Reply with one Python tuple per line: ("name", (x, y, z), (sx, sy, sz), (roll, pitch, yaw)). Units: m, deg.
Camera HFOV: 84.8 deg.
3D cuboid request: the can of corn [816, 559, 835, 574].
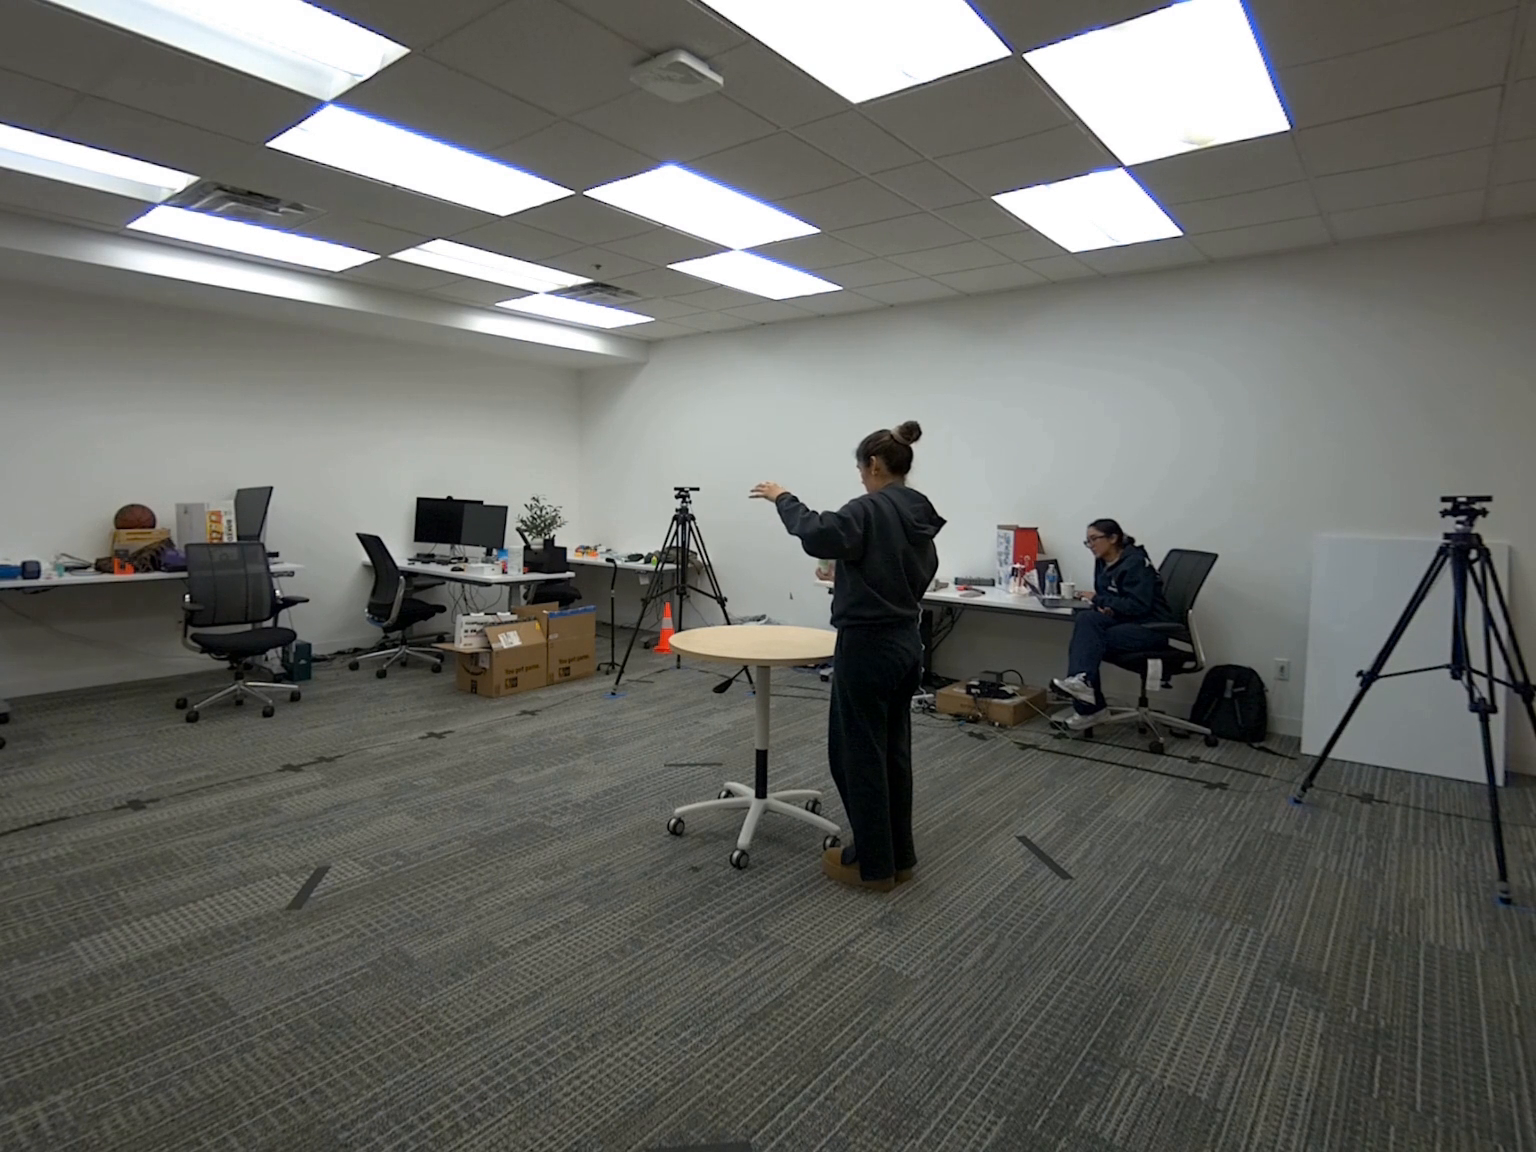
("can of corn", (0.236, -0.074, 3.324), (0.074, 0.110, 0.075), (3, 5, -2))
